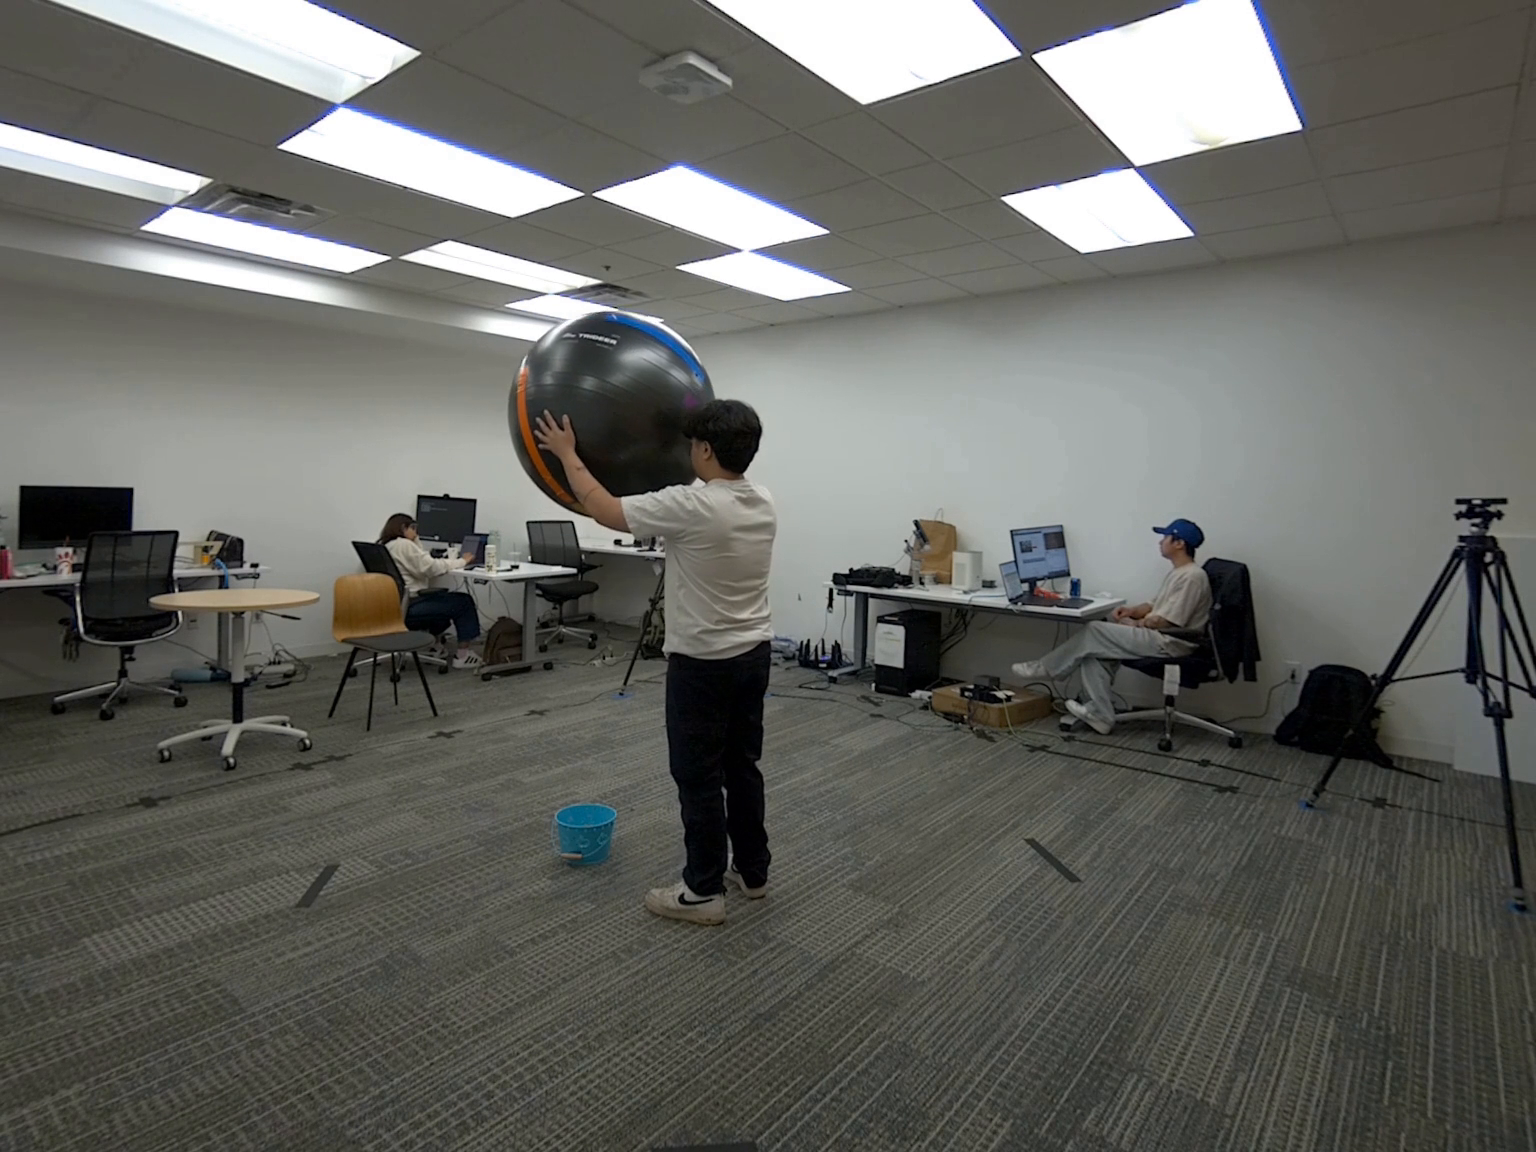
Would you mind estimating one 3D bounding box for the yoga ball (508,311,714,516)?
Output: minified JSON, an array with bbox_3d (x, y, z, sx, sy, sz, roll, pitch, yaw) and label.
[{"bbox_3d":[-0.585,-0.585,3.127,0.757,0.755,0.762,1,4,-2],"label":"yoga ball"}]
